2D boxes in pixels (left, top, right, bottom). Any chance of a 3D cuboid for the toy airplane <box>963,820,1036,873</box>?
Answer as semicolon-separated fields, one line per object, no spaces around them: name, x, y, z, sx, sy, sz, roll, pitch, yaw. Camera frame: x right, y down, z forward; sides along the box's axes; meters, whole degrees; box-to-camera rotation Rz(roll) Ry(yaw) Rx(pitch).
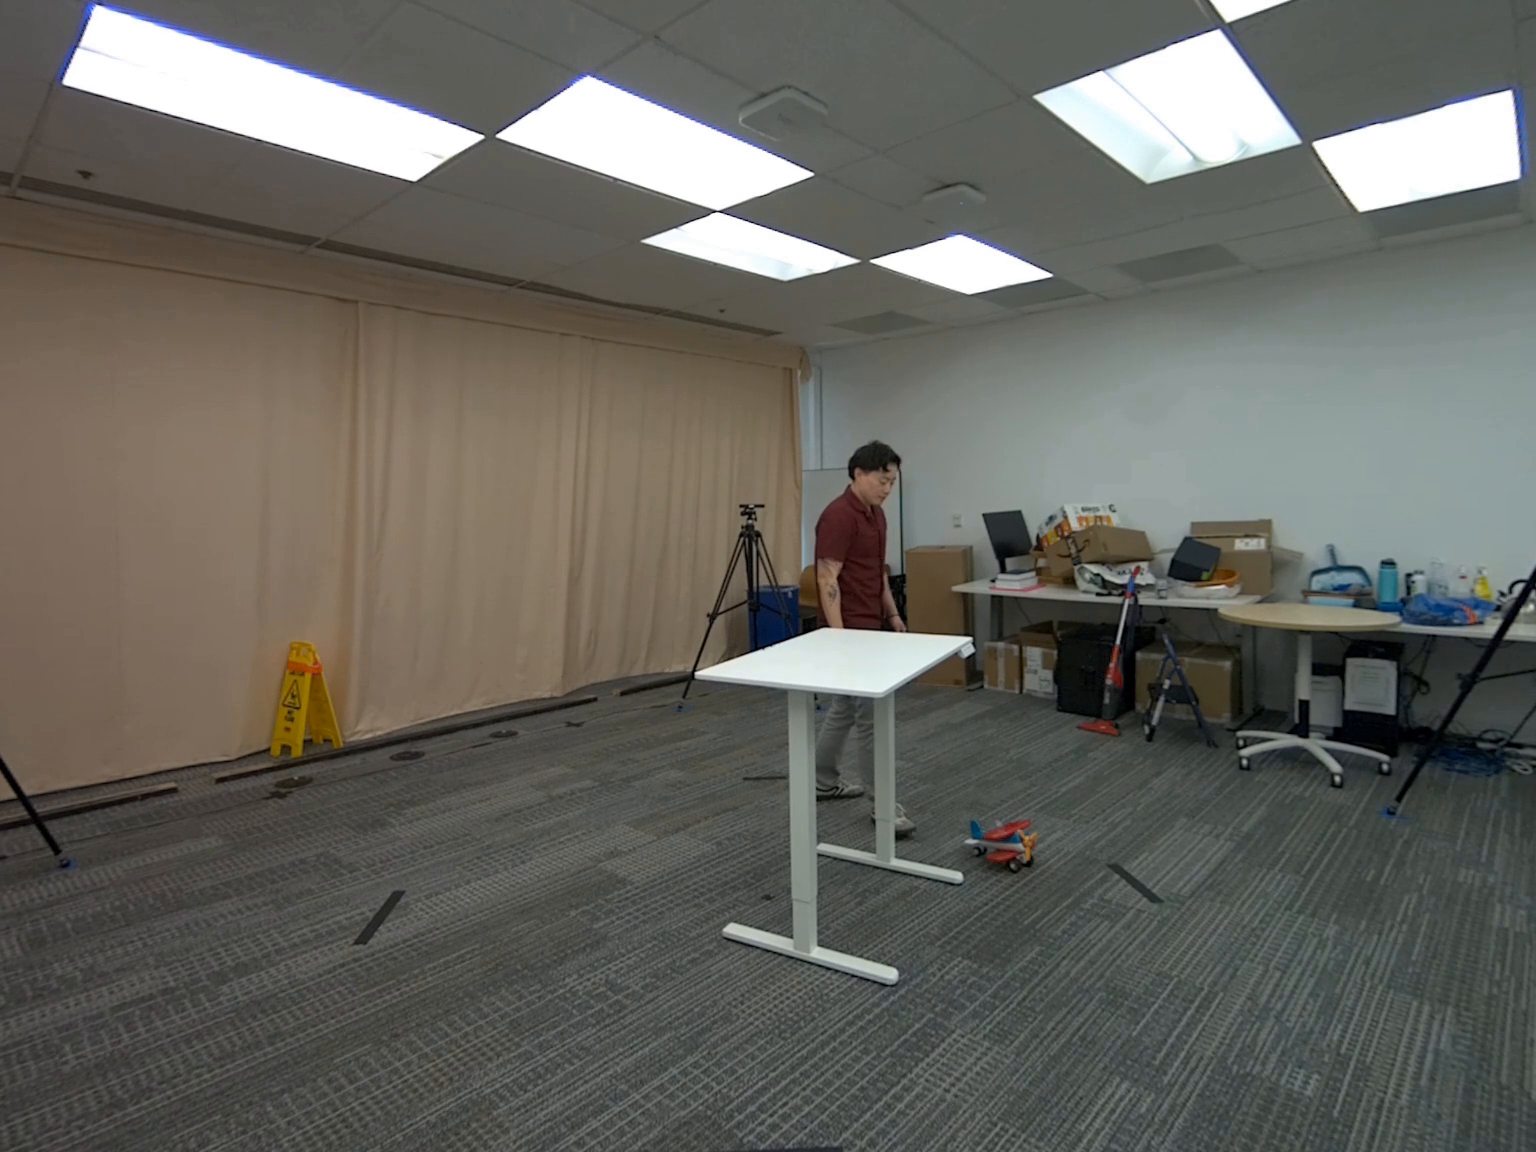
toy airplane;0.893;1.032;3.228;0.265;0.156;0.246;2;5;21
